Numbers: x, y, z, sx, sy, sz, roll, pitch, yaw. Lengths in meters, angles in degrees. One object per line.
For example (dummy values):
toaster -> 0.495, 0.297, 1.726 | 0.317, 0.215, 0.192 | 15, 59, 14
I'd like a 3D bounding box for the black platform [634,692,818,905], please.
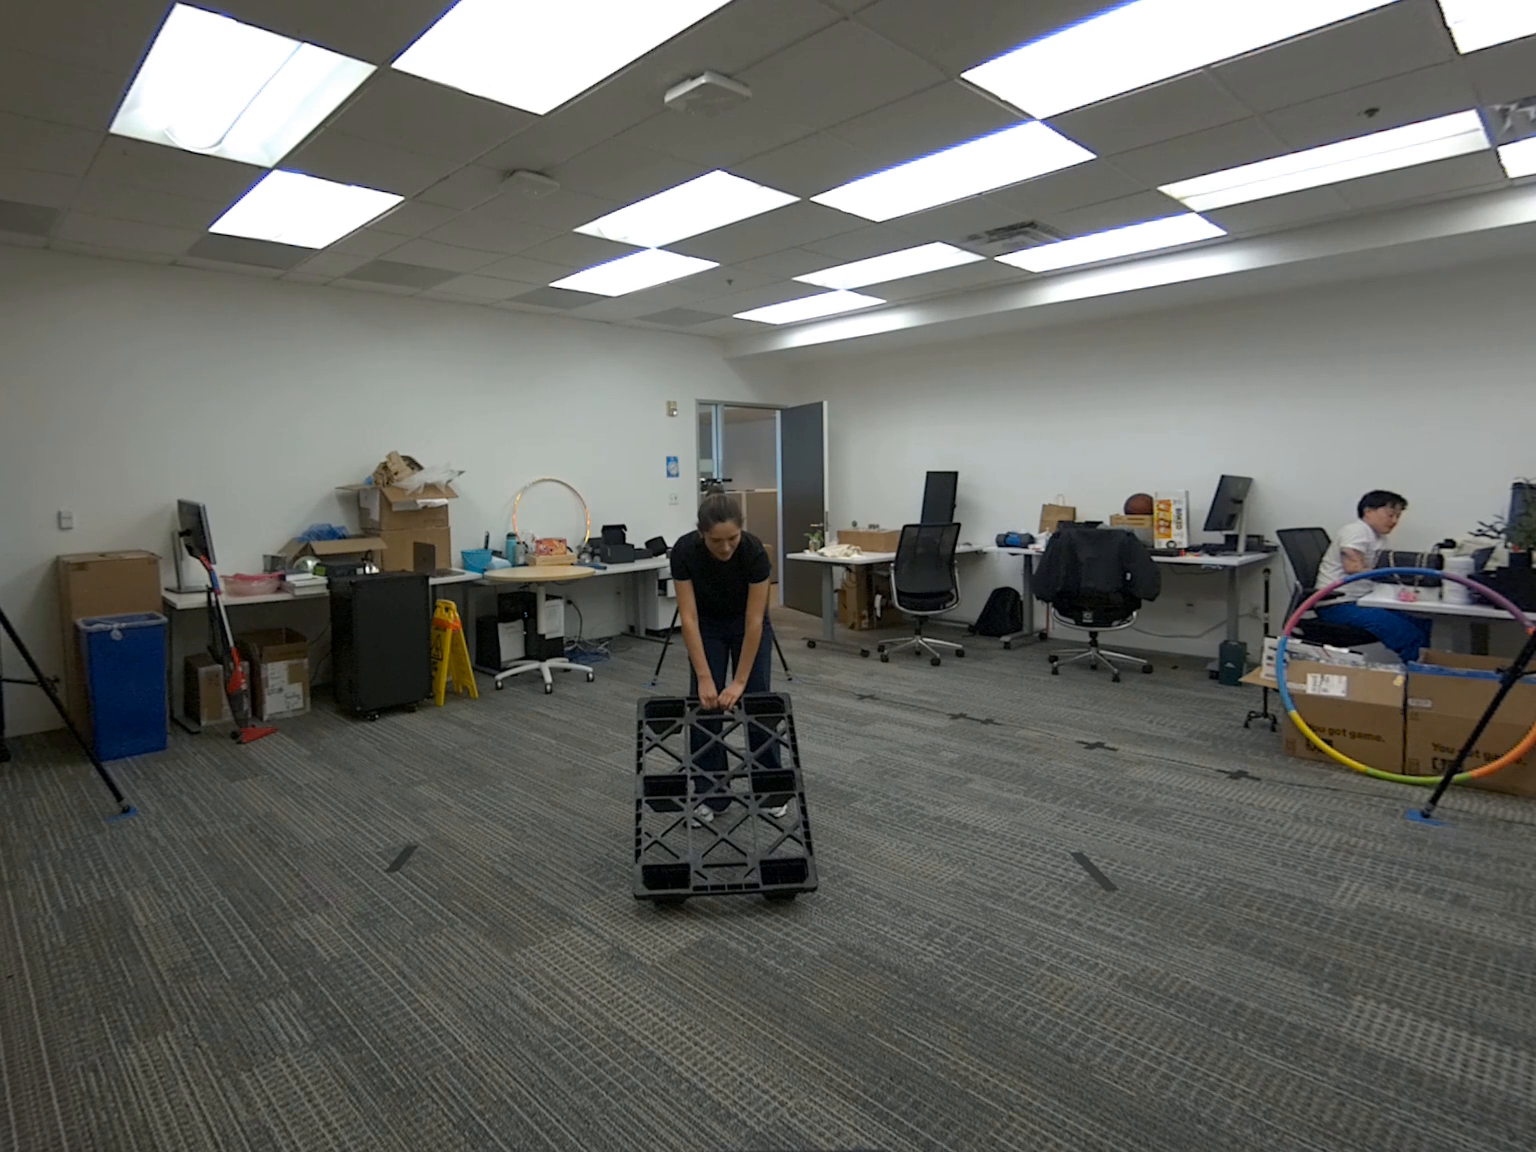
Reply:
black platform -> -0.180, 0.776, 3.088 | 0.603, 0.140, 0.830 | -2, 42, -5
